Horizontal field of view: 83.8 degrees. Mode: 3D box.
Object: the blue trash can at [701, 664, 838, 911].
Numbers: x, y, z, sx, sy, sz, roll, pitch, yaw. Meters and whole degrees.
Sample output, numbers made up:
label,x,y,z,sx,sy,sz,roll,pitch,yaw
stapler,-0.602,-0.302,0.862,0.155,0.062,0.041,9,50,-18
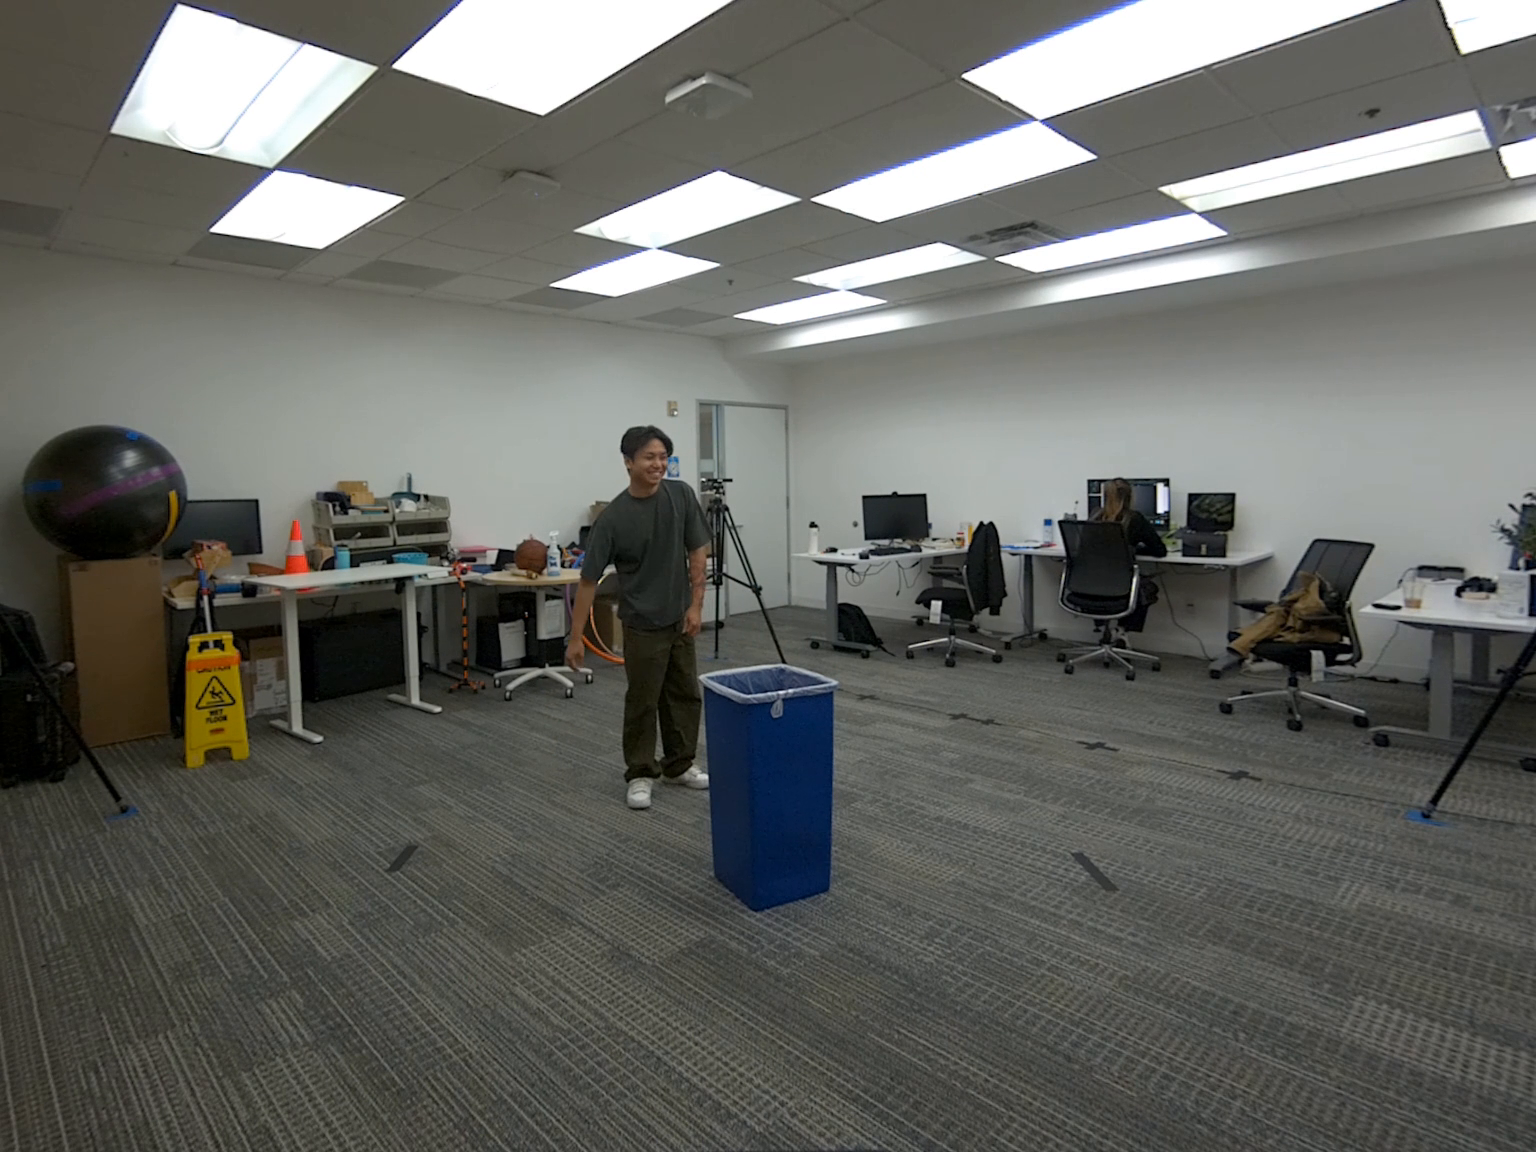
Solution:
label,x,y,z,sx,sy,sz,roll,pitch,yaw
blue trash can,0.000,0.705,2.938,0.369,0.711,0.384,-3,5,-29
